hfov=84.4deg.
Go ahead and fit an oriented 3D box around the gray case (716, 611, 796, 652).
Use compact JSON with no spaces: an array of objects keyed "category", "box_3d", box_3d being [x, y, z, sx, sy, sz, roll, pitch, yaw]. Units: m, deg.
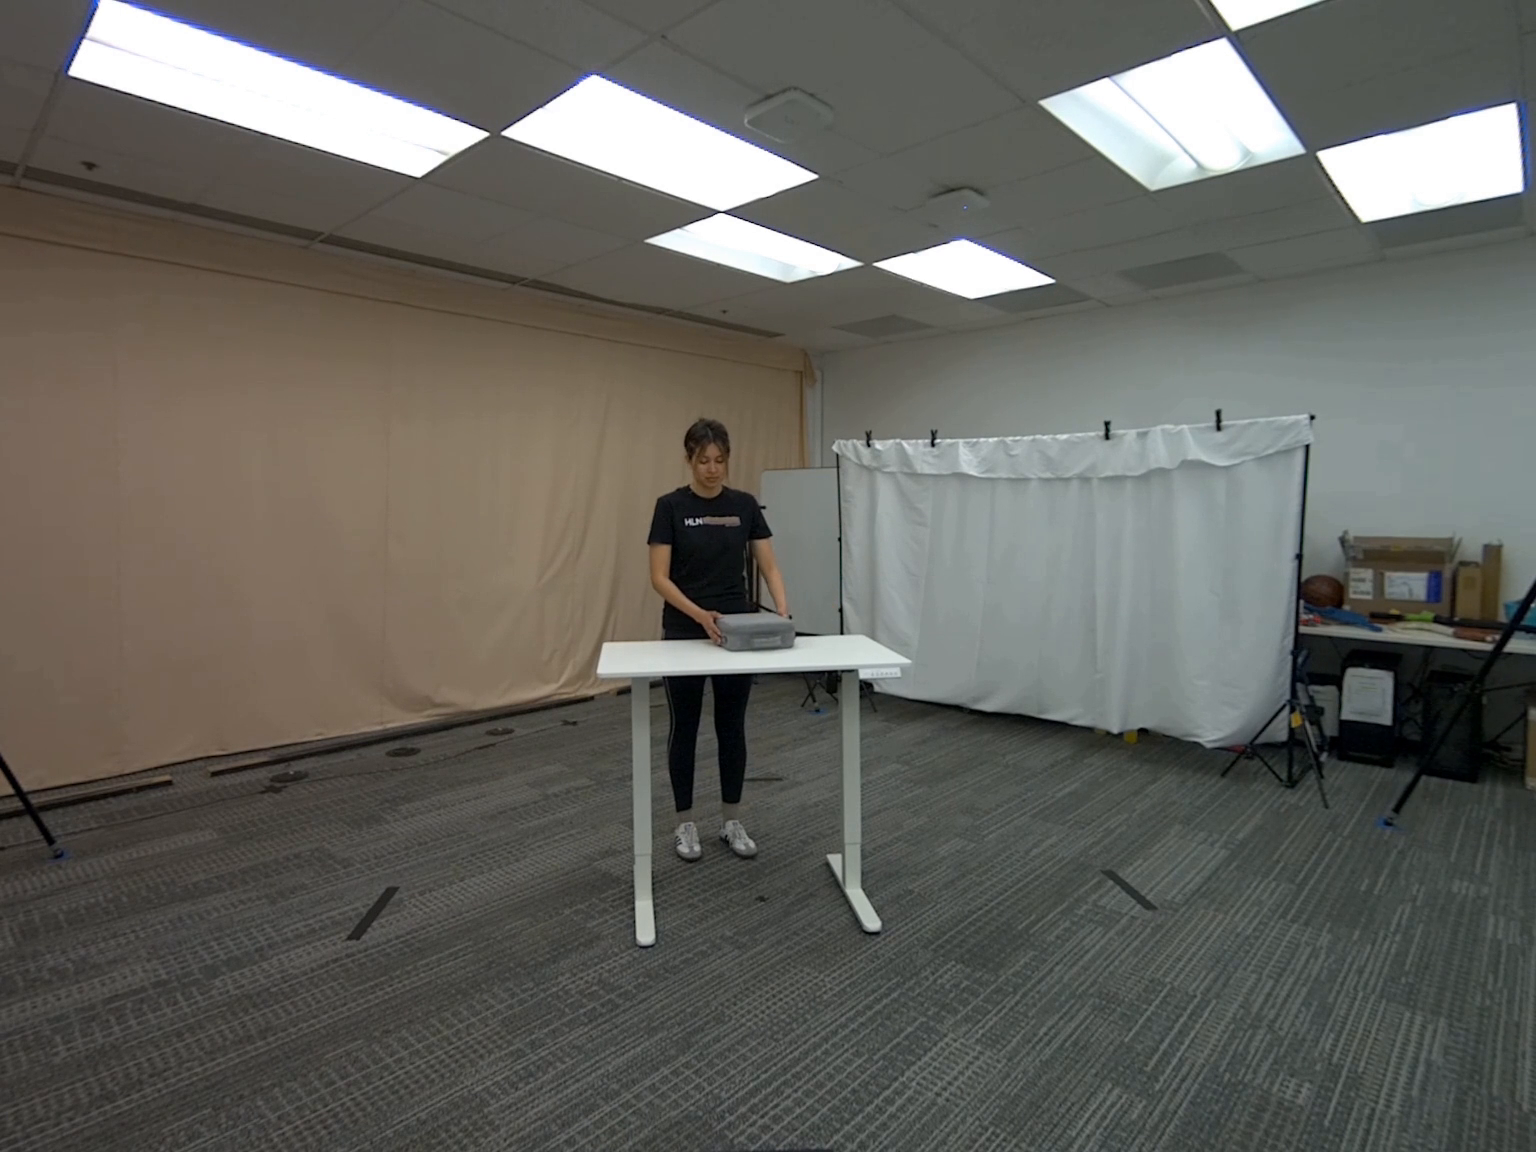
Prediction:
[{"category":"gray case","box_3d":[-0.046,0.207,3.064,0.253,0.104,0.265,-1,5,-16]}]
